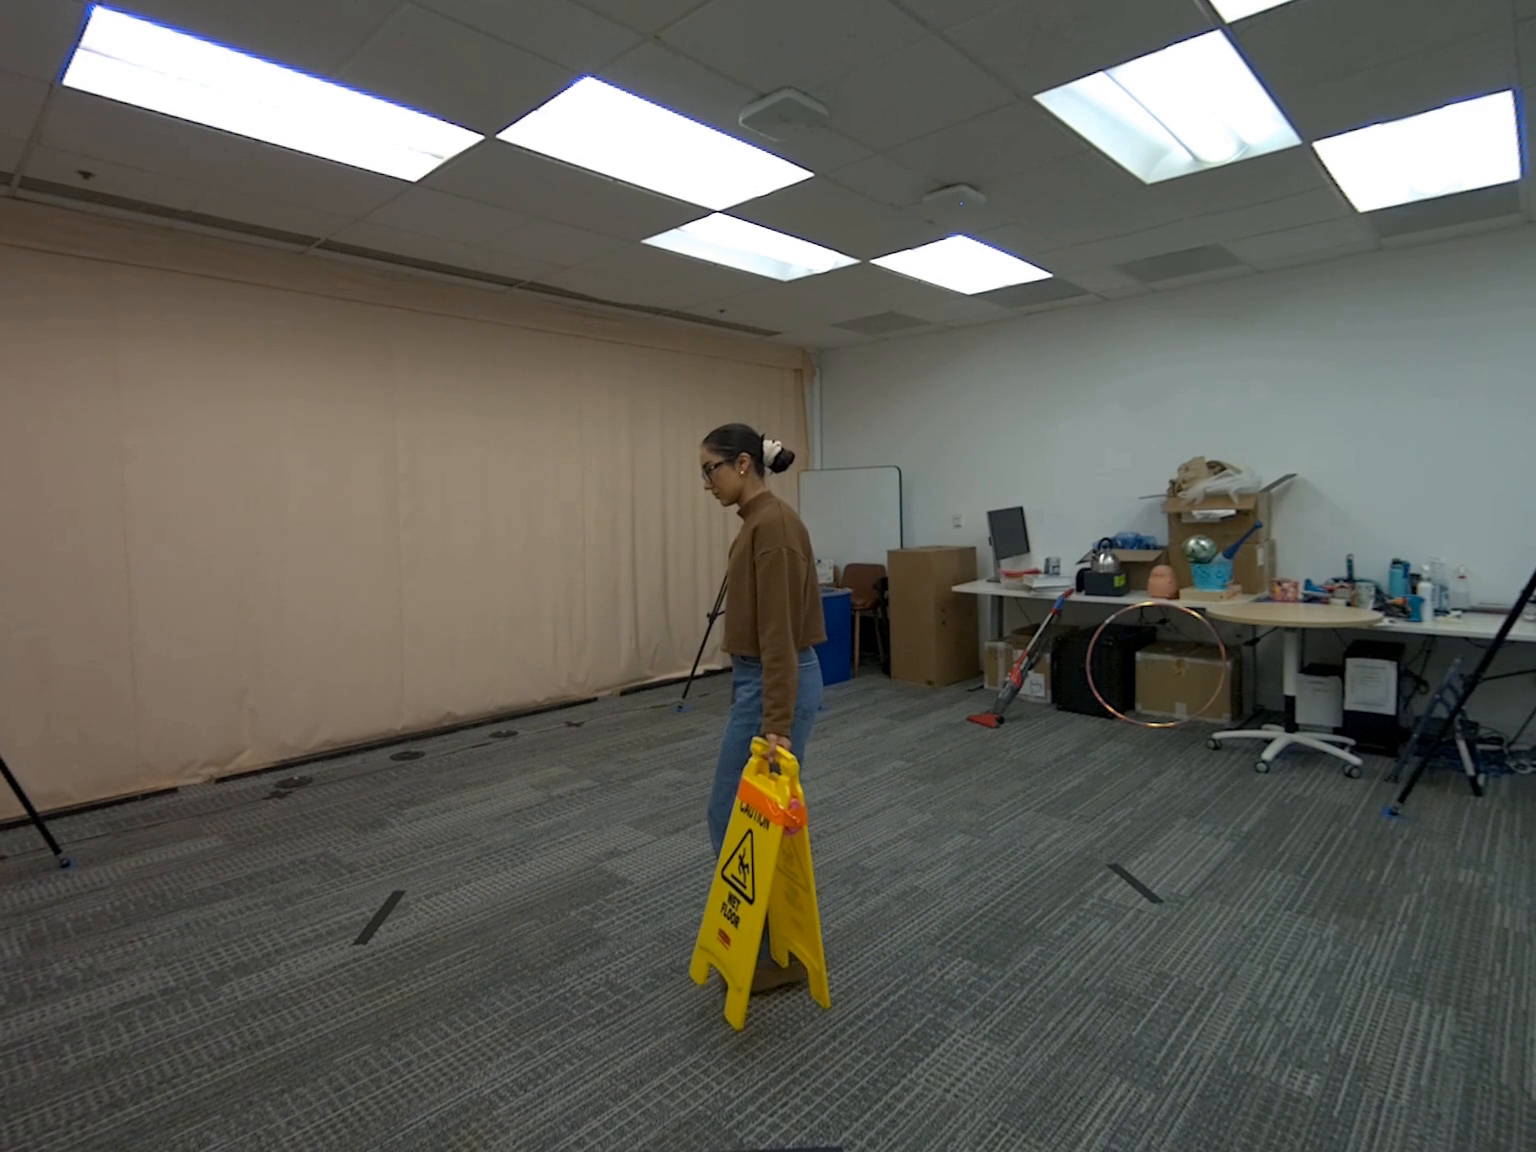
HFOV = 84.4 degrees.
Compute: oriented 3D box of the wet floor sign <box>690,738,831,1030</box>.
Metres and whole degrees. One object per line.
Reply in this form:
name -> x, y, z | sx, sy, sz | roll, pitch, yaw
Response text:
wet floor sign -> 0.004, 0.758, 2.184 | 0.282, 0.645, 0.290 | 3, 3, -29
